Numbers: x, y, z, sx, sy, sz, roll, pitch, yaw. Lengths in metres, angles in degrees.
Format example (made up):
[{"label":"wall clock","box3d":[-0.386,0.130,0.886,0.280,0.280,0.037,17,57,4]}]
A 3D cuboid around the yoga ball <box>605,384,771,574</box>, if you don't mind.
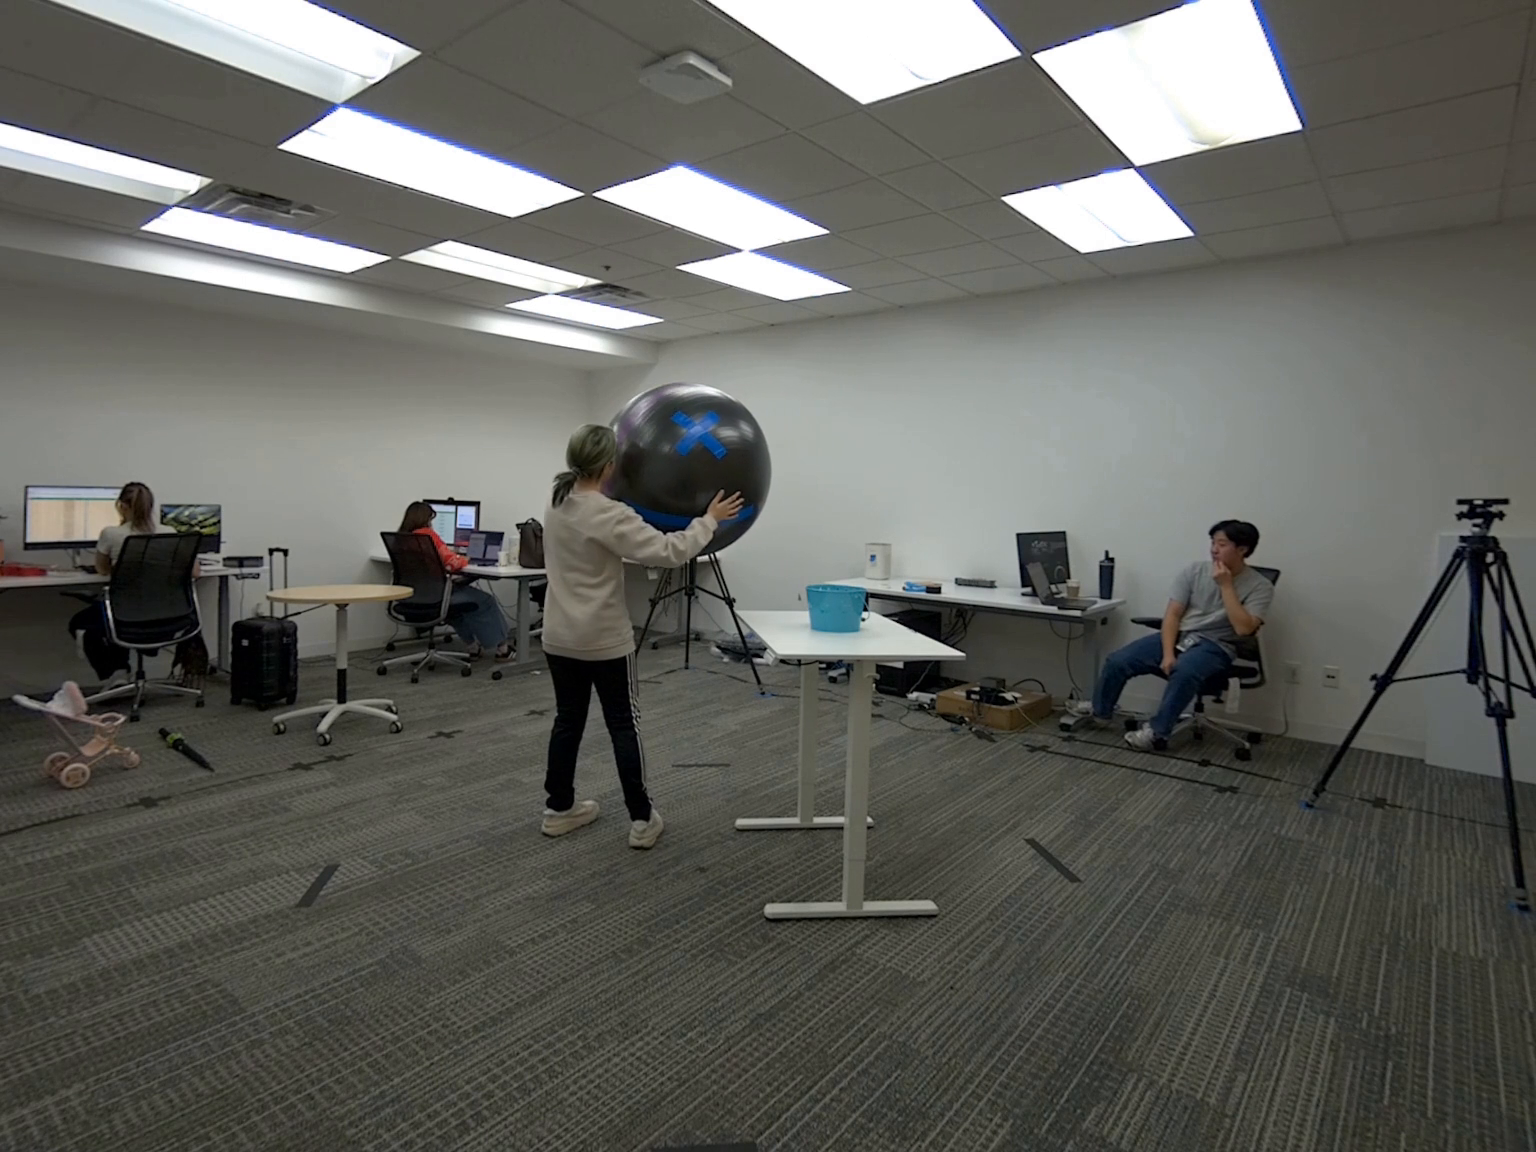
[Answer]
[{"label":"yoga ball","box3d":[-0.372,-0.454,3.703,0.757,0.755,0.762,1,4,-2]}]
